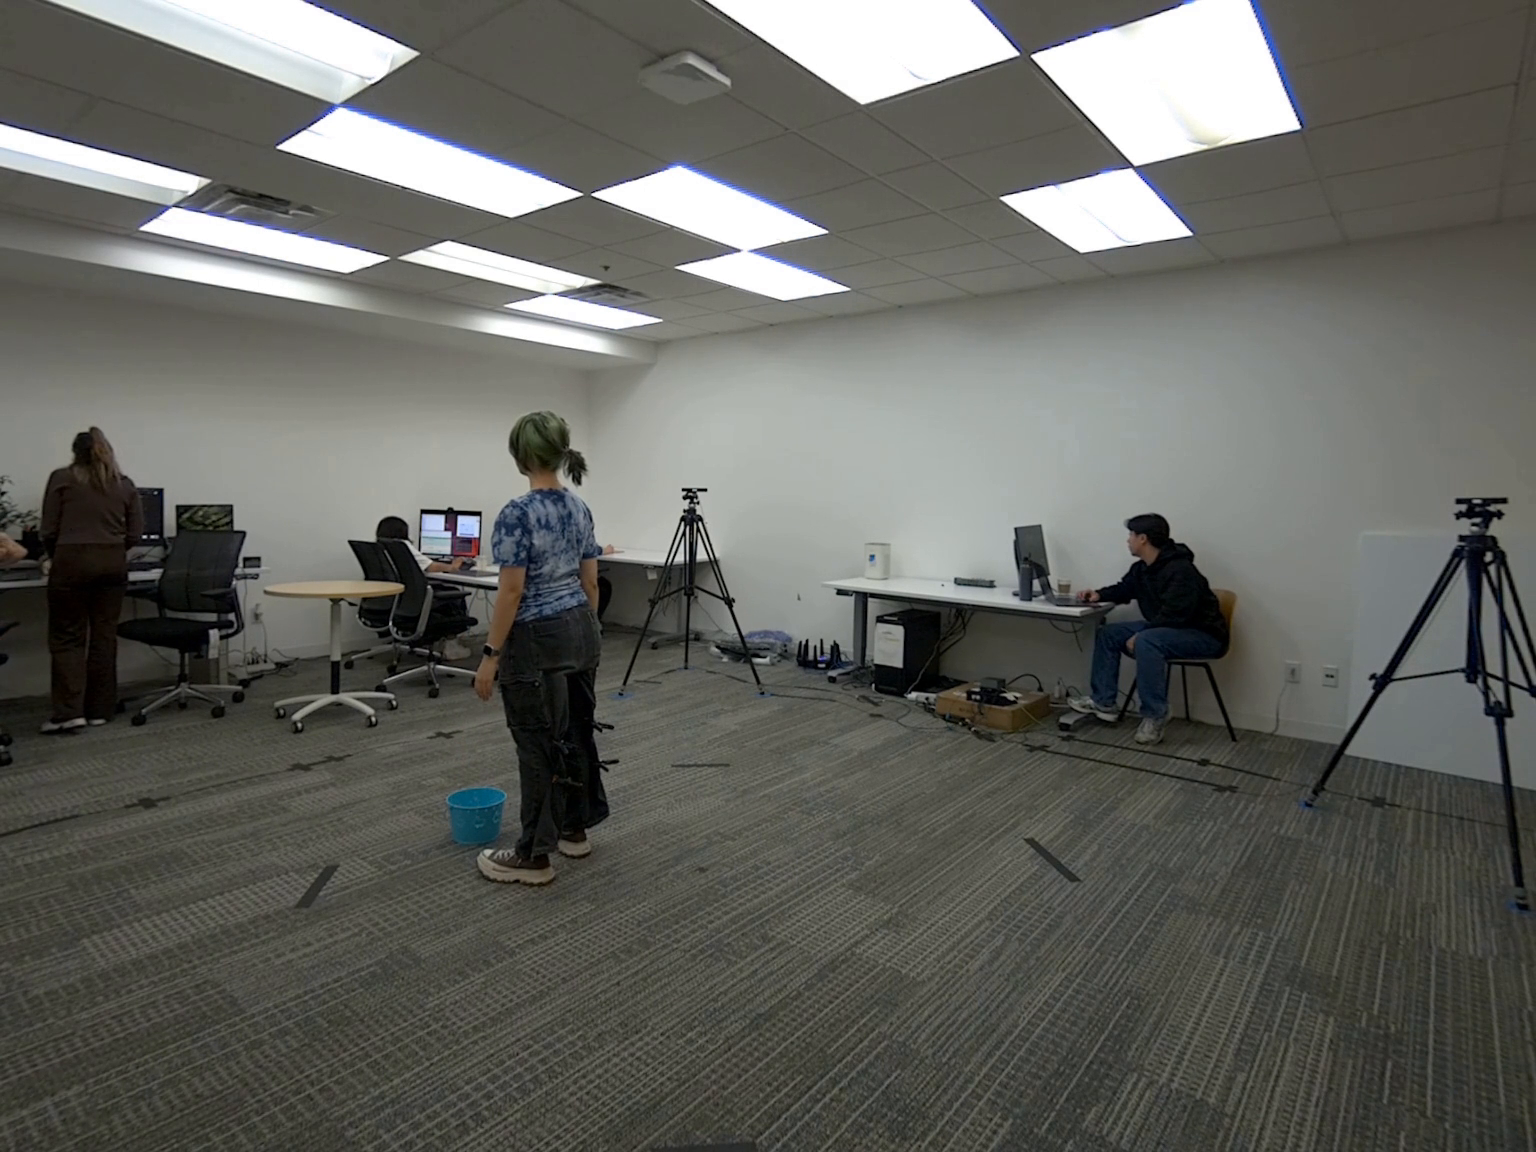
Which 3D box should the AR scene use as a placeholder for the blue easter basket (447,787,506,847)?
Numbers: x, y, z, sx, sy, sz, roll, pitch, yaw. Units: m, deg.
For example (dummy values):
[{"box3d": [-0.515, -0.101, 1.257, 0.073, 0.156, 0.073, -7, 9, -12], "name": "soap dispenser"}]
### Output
[{"box3d": [-1.175, 0.951, 3.387, 0.243, 0.155, 0.245, 2, 5, -2], "name": "blue easter basket"}]
